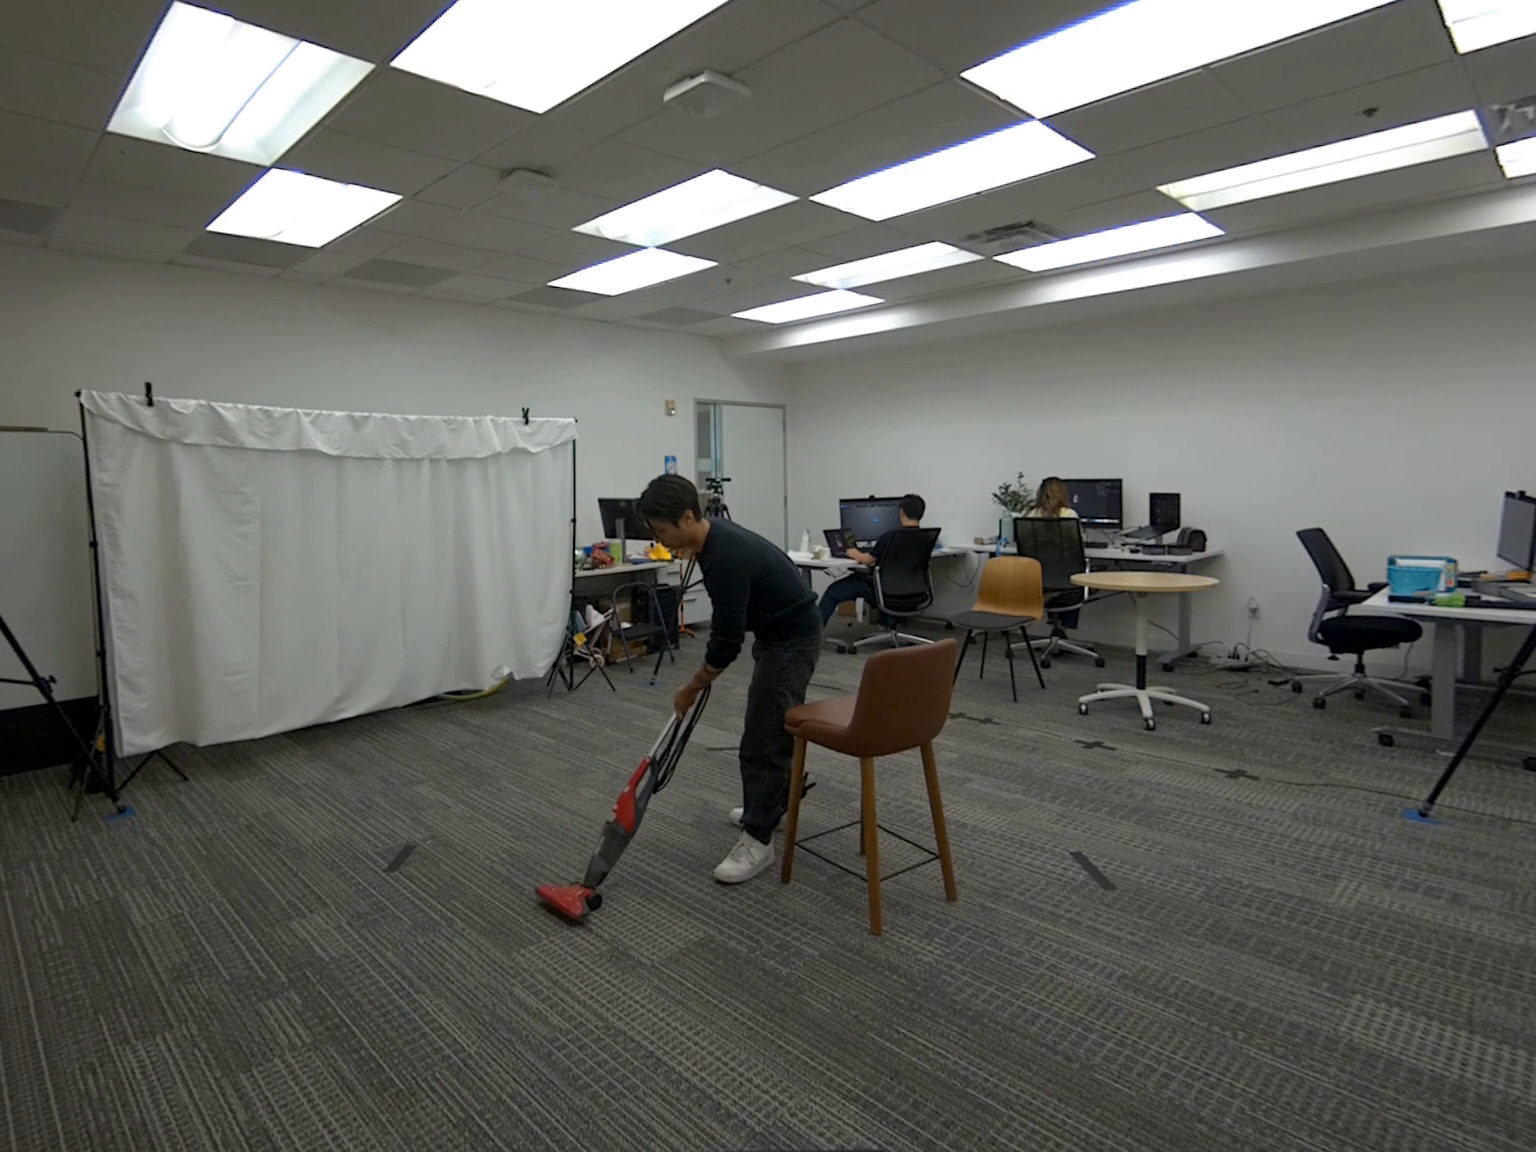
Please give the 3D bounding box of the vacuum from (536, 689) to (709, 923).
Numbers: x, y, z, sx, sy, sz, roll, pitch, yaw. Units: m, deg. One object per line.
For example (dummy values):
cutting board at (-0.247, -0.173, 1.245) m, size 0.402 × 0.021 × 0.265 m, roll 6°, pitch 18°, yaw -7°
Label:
vacuum at (-0.395, 0.672, 3.008) m, size 0.260 × 1.055 × 0.139 m, roll 6°, pitch -36°, yaw 44°
